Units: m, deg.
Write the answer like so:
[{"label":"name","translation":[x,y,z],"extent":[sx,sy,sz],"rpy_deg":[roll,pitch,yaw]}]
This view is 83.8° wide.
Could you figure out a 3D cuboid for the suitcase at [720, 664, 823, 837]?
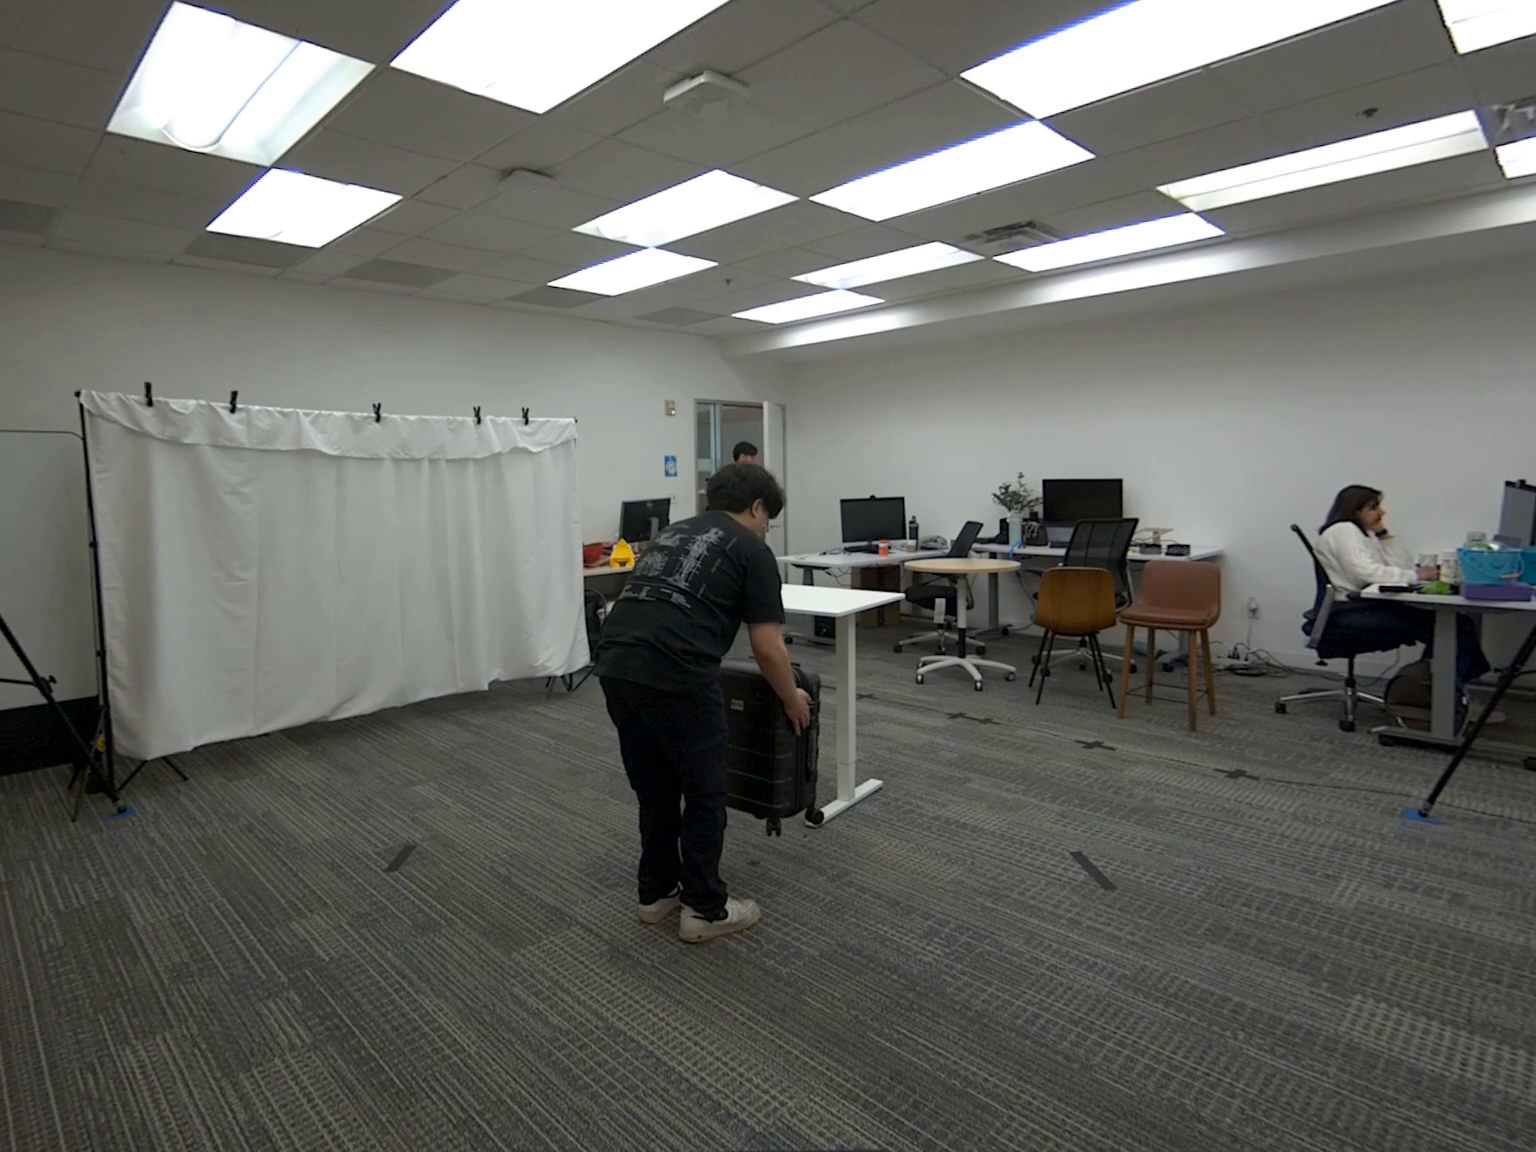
[{"label":"suitcase","translation":[-0.019,0.572,2.942],"extent":[0.387,0.548,0.241],"rpy_deg":[4,4,39]}]
